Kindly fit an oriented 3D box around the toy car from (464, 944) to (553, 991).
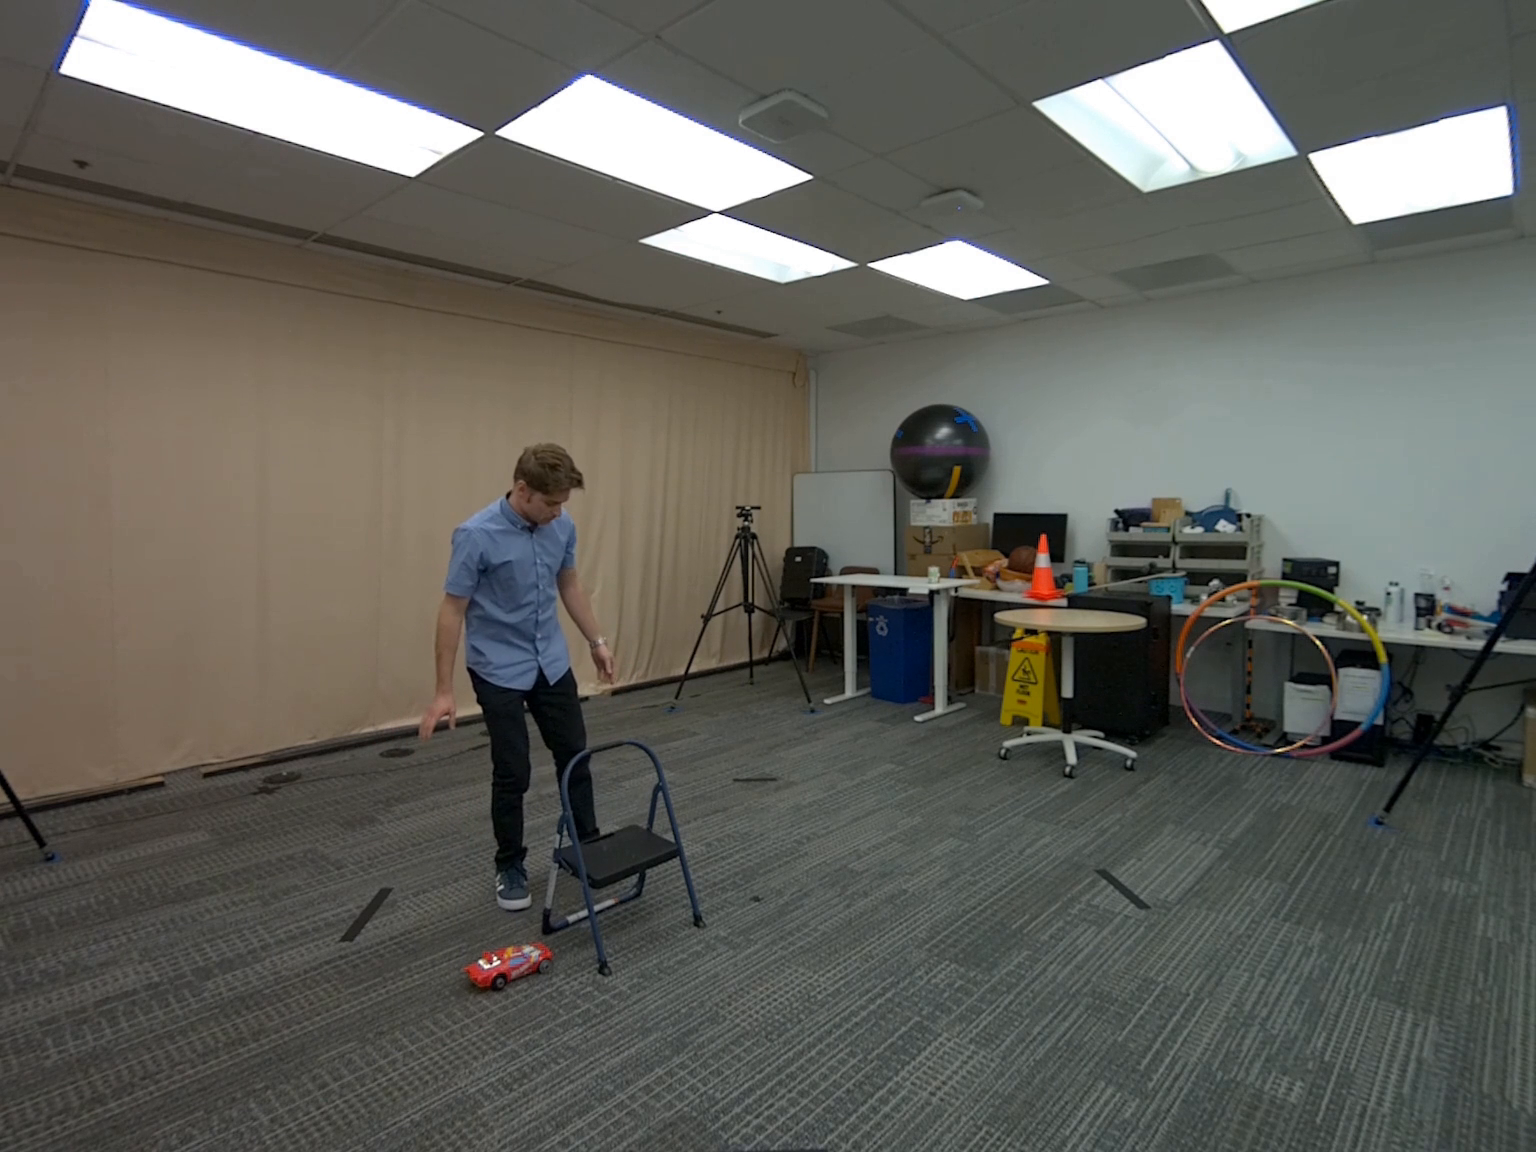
[{"bbox_3d":[-0.774,1.157,2.496,0.246,0.083,0.134,10,-4,-39],"label":"toy car"}]
